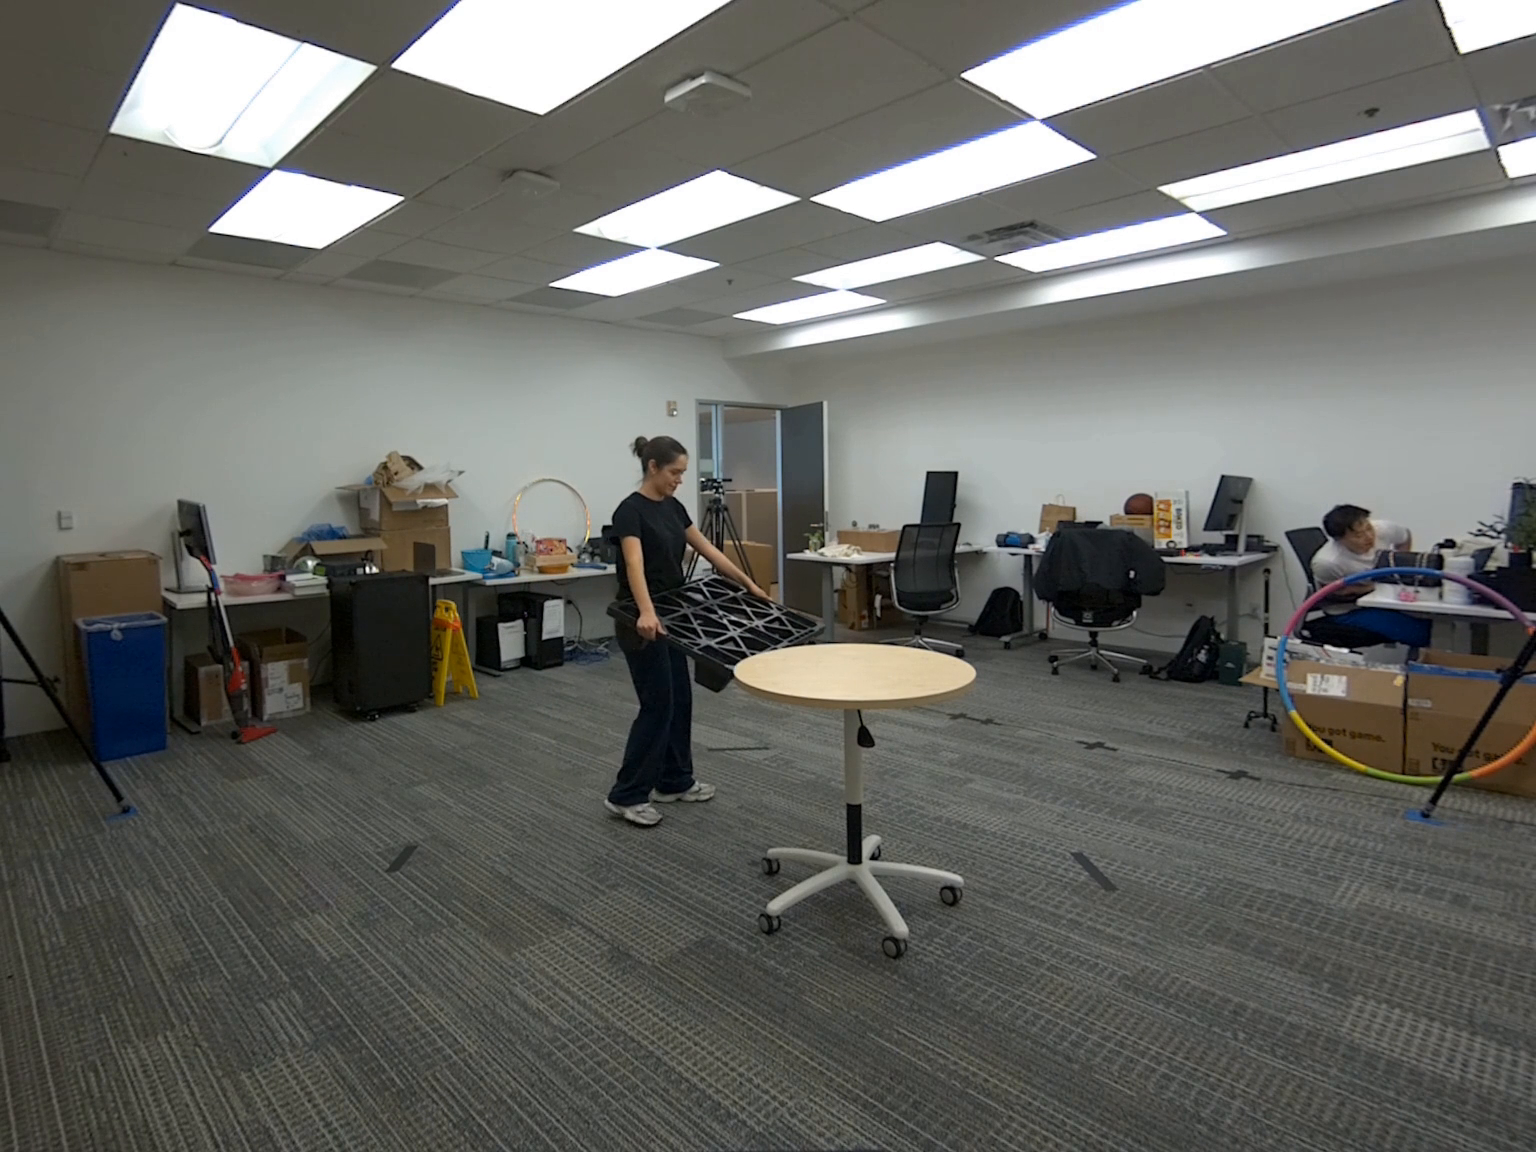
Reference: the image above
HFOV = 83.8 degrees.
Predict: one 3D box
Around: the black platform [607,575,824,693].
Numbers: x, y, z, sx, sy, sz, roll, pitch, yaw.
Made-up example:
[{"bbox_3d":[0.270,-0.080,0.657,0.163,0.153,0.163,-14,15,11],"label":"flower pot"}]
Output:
[{"bbox_3d":[-0.207,0.225,3.487,0.622,0.142,0.791,22,18,23],"label":"black platform"}]
